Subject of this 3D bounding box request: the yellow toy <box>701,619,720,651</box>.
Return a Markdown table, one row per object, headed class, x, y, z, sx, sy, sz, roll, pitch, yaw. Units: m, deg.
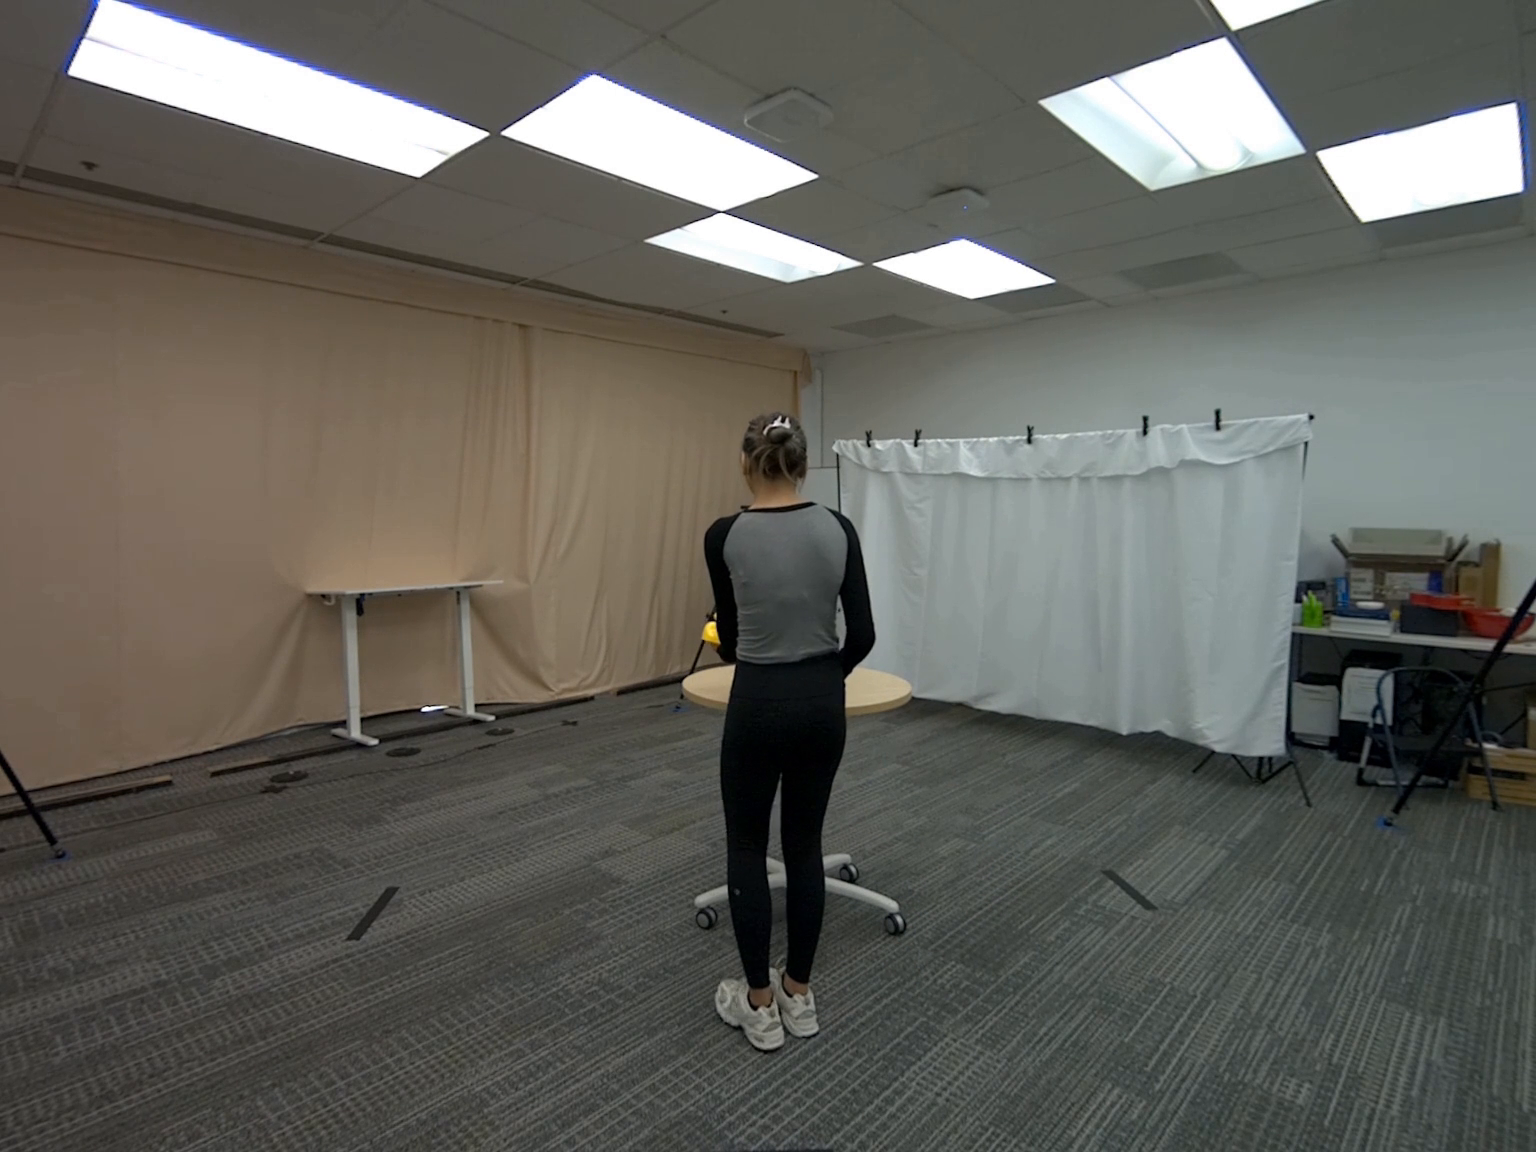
| class | x | y | z | sx | sy | sz | roll | pitch | yaw |
| --- | --- | --- | --- | --- | --- | --- | --- | --- | --- |
| yellow toy | -0.090 | 0.104 | 2.605 | 0.201 | 0.231 | 0.196 | 12 | -4 | -16 |
